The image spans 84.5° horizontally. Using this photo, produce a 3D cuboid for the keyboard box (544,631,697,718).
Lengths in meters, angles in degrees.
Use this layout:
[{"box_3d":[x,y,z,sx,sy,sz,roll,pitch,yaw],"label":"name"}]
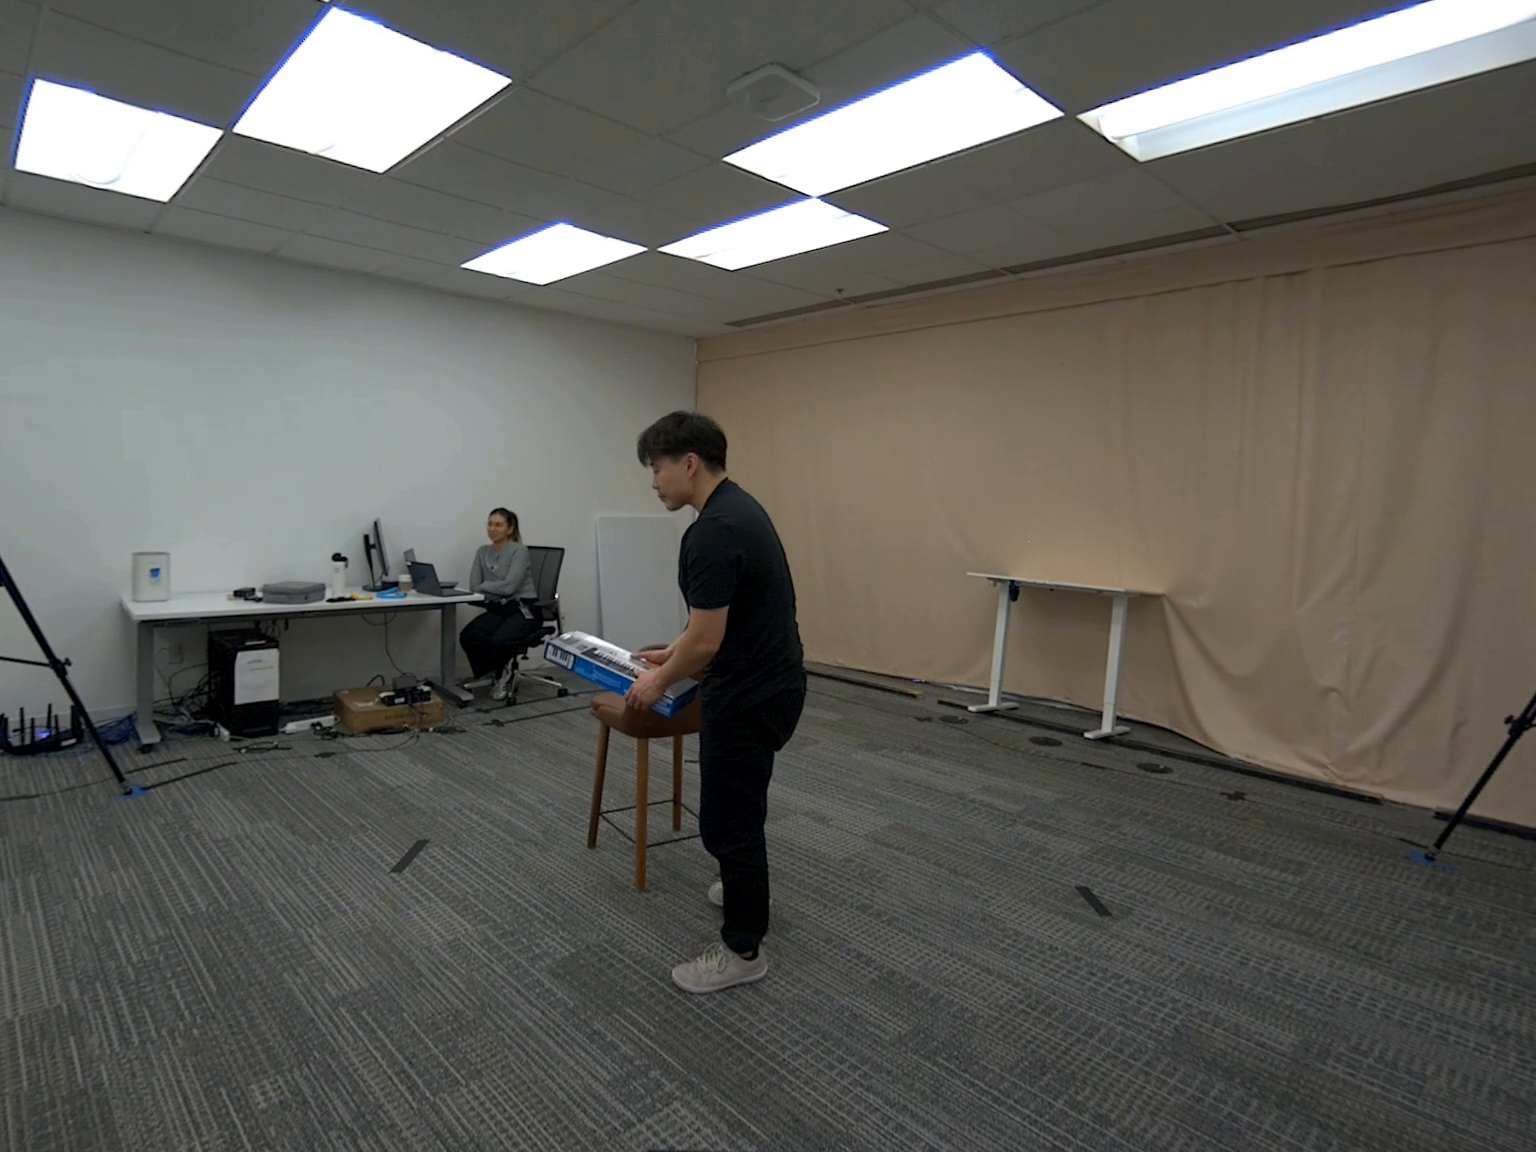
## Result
[{"box_3d":[-0.437,0.290,2.498,0.443,0.059,0.174,20,14,14],"label":"keyboard box"}]
